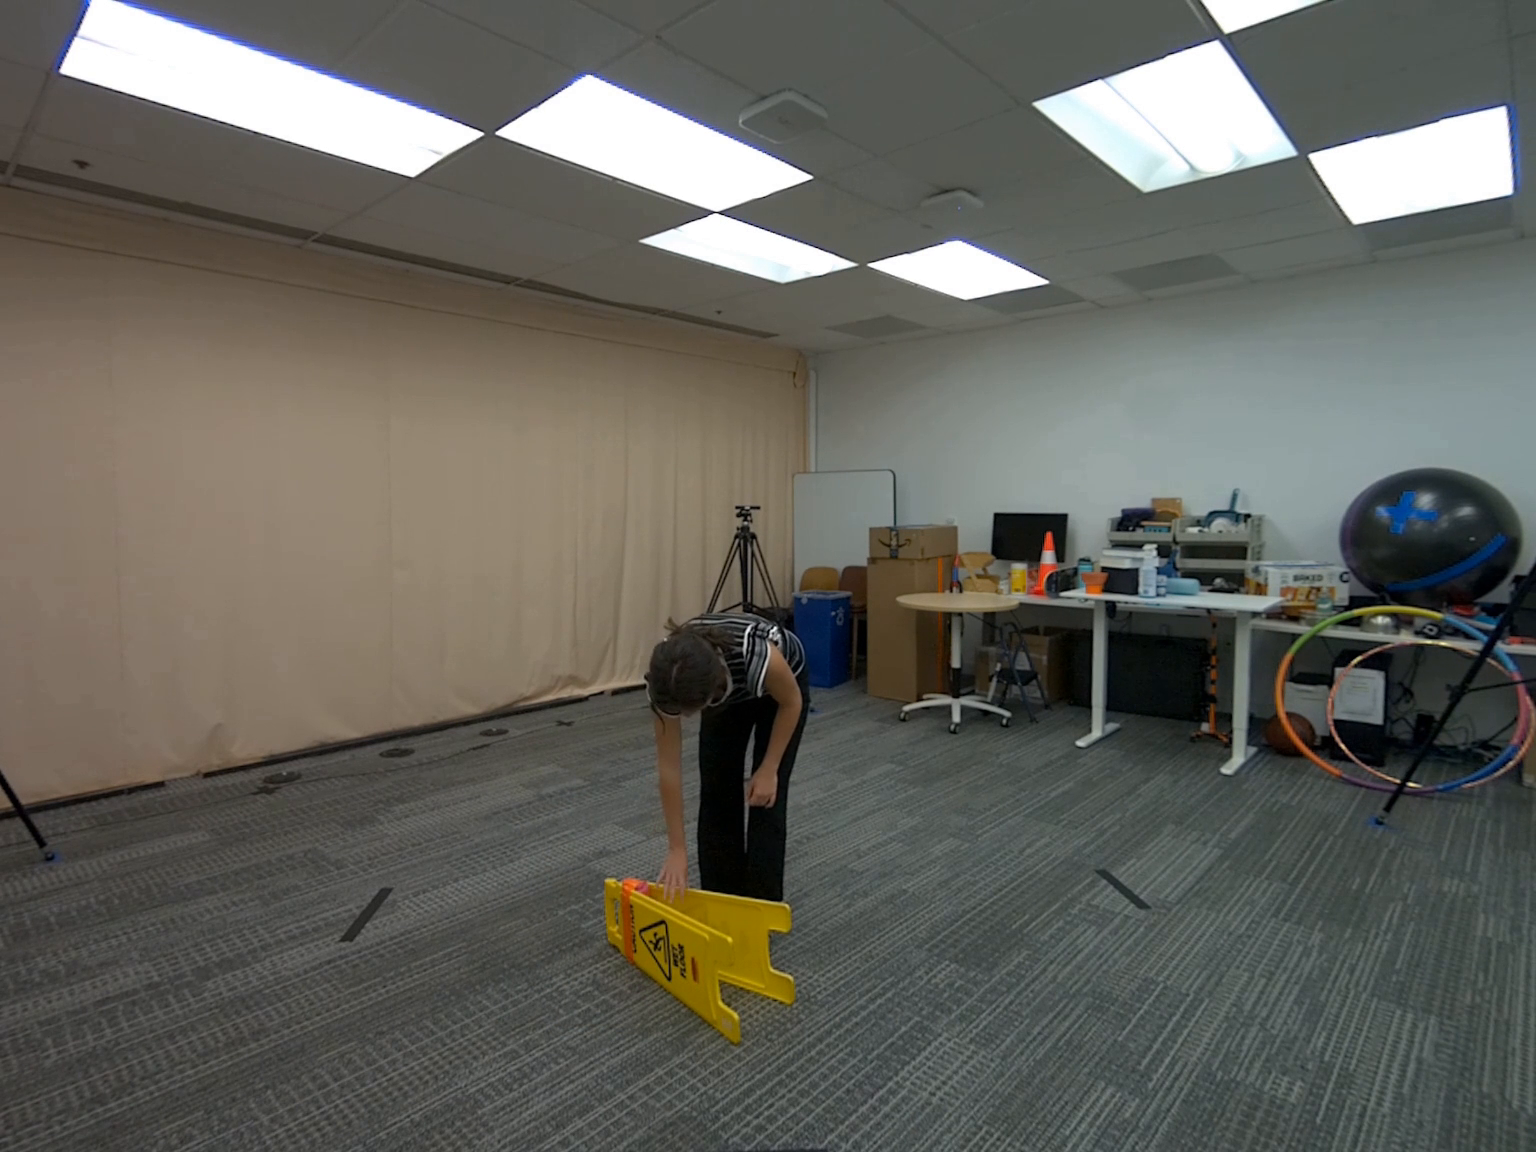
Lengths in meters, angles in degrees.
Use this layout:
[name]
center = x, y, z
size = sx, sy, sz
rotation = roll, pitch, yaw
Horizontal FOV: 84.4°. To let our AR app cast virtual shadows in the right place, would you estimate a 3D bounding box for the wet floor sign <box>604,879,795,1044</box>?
[wet floor sign]
center = -0.259, 1.063, 2.469
size = 0.666, 0.282, 0.281
rotation = -1, 4, 40
